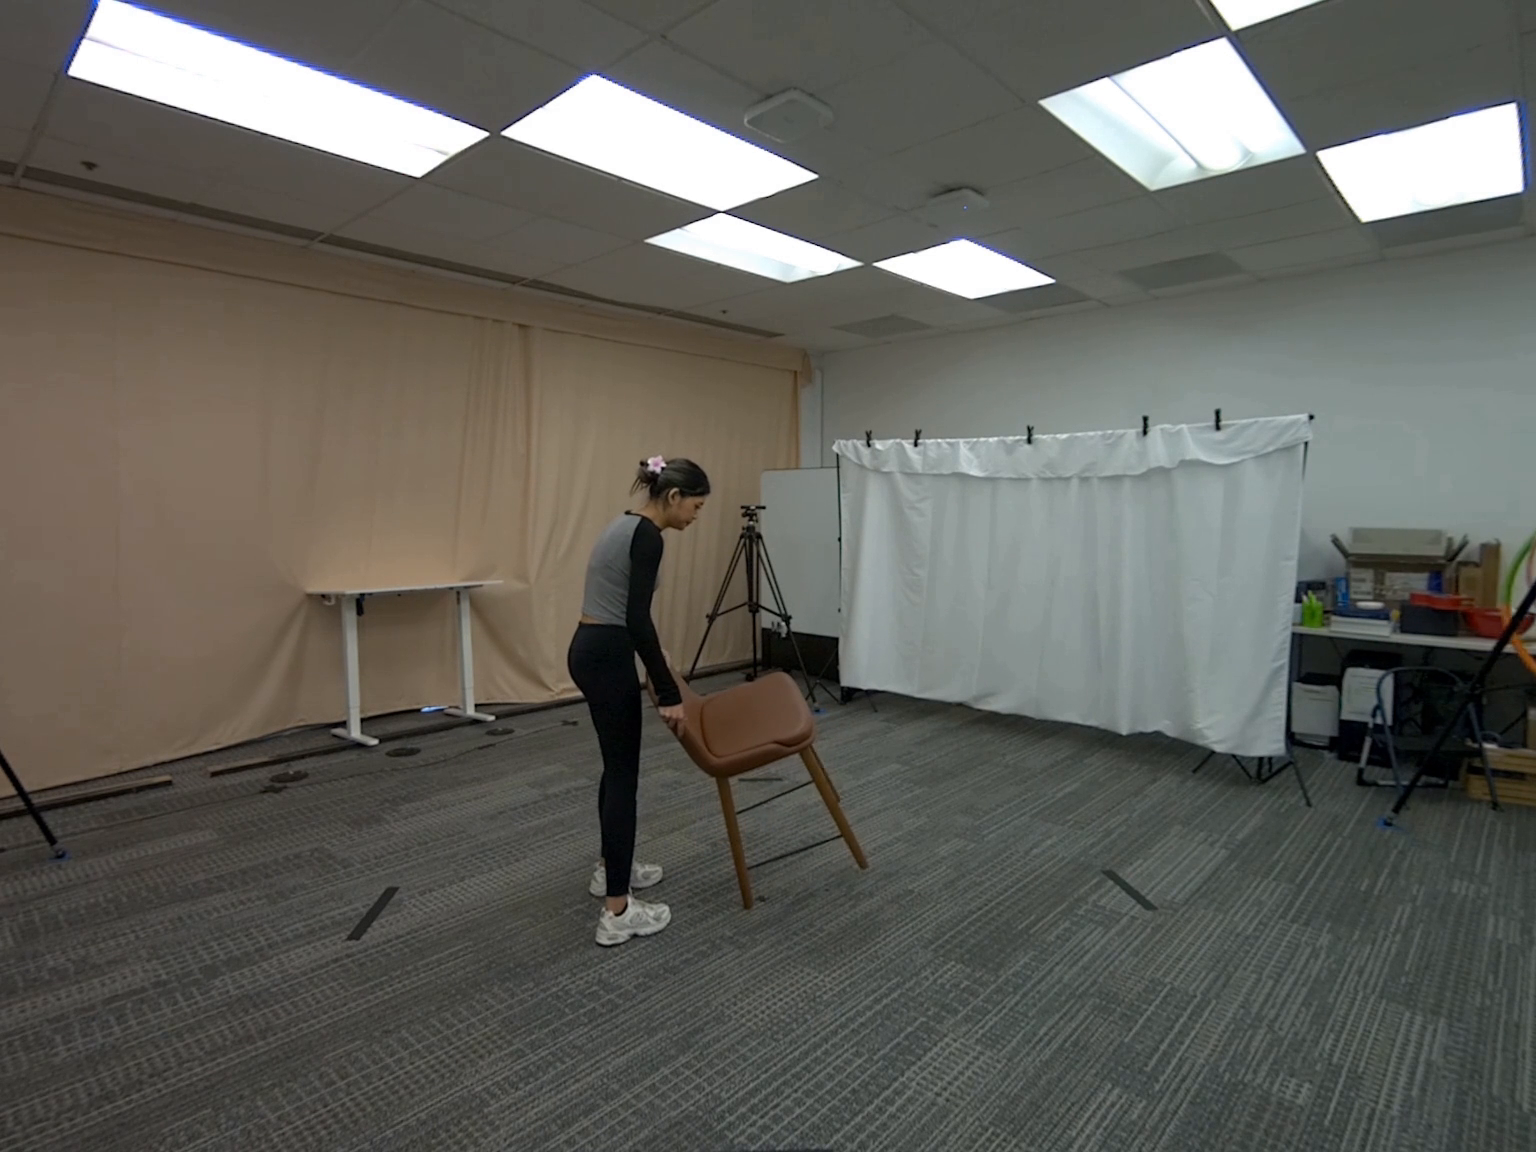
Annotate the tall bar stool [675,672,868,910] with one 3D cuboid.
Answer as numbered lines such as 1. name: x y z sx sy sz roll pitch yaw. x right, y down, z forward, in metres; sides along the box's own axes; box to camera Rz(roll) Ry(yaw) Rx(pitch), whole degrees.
1. tall bar stool: -0.039 0.639 2.934 0.468 0.873 0.465 -22 20 0
